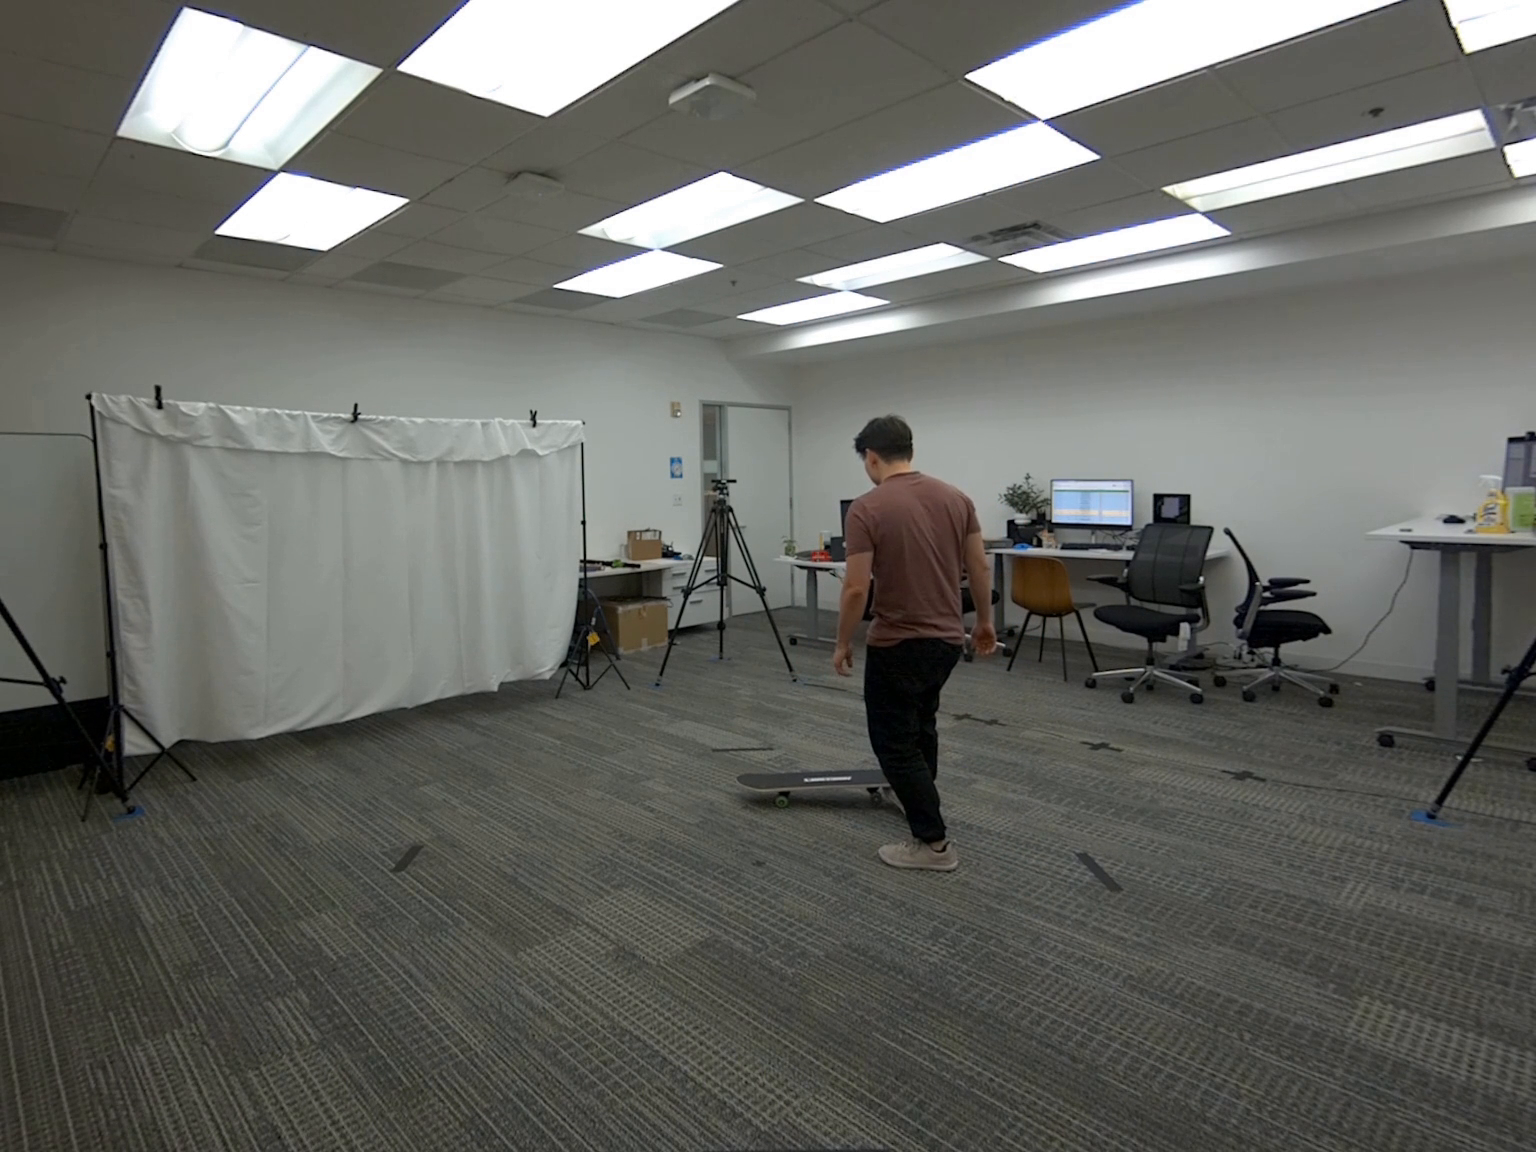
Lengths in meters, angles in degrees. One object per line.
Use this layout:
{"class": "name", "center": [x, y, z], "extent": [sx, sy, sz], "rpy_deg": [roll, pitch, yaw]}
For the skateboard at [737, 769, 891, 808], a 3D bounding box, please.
{"class": "skateboard", "center": [0.260, 0.909, 3.694], "extent": [0.790, 0.110, 0.193], "rpy_deg": [-3, 6, 6]}
